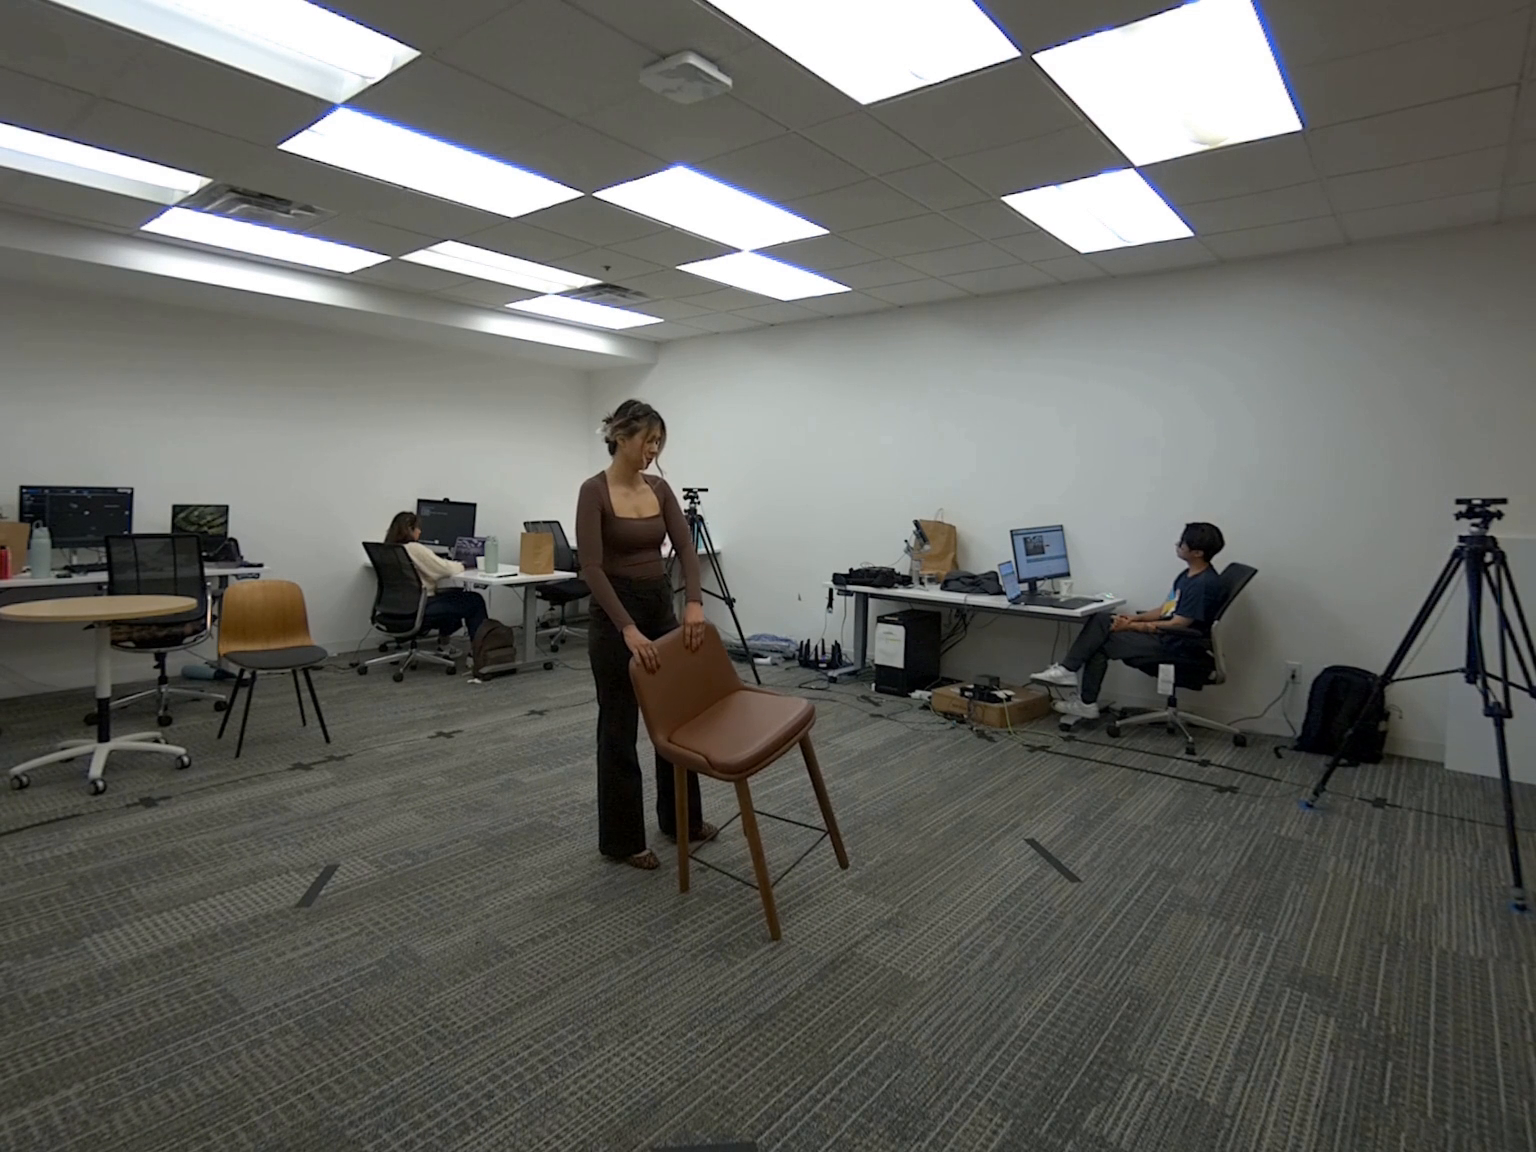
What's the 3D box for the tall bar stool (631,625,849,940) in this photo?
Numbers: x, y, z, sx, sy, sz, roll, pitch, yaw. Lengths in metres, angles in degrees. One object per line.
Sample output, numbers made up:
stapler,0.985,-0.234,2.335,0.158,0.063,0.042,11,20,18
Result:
tall bar stool,-0.105,0.628,2.813,0.483,0.877,0.448,1,17,42
